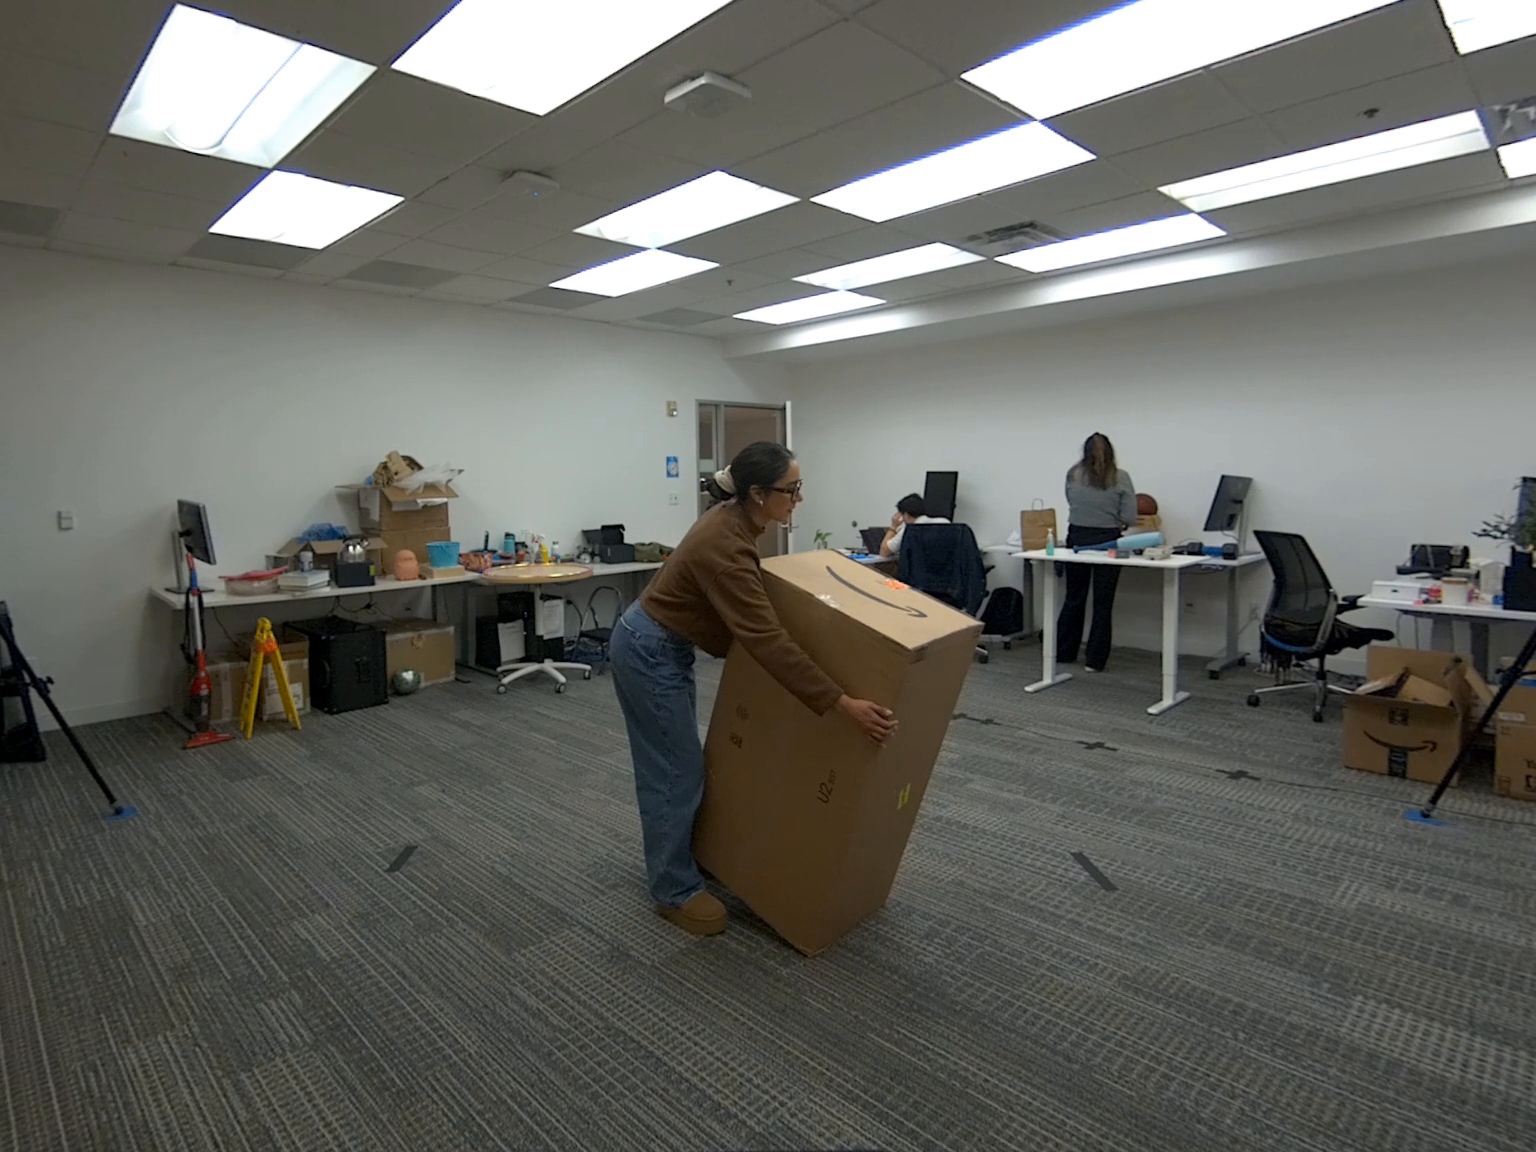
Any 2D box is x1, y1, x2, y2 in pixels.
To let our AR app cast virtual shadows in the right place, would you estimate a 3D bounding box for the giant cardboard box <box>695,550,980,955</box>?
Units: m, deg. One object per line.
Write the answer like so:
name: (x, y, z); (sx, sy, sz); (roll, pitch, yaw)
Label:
giant cardboard box: (0.179, 0.515, 2.654); (0.599, 1.014, 0.415); (29, 22, 36)
